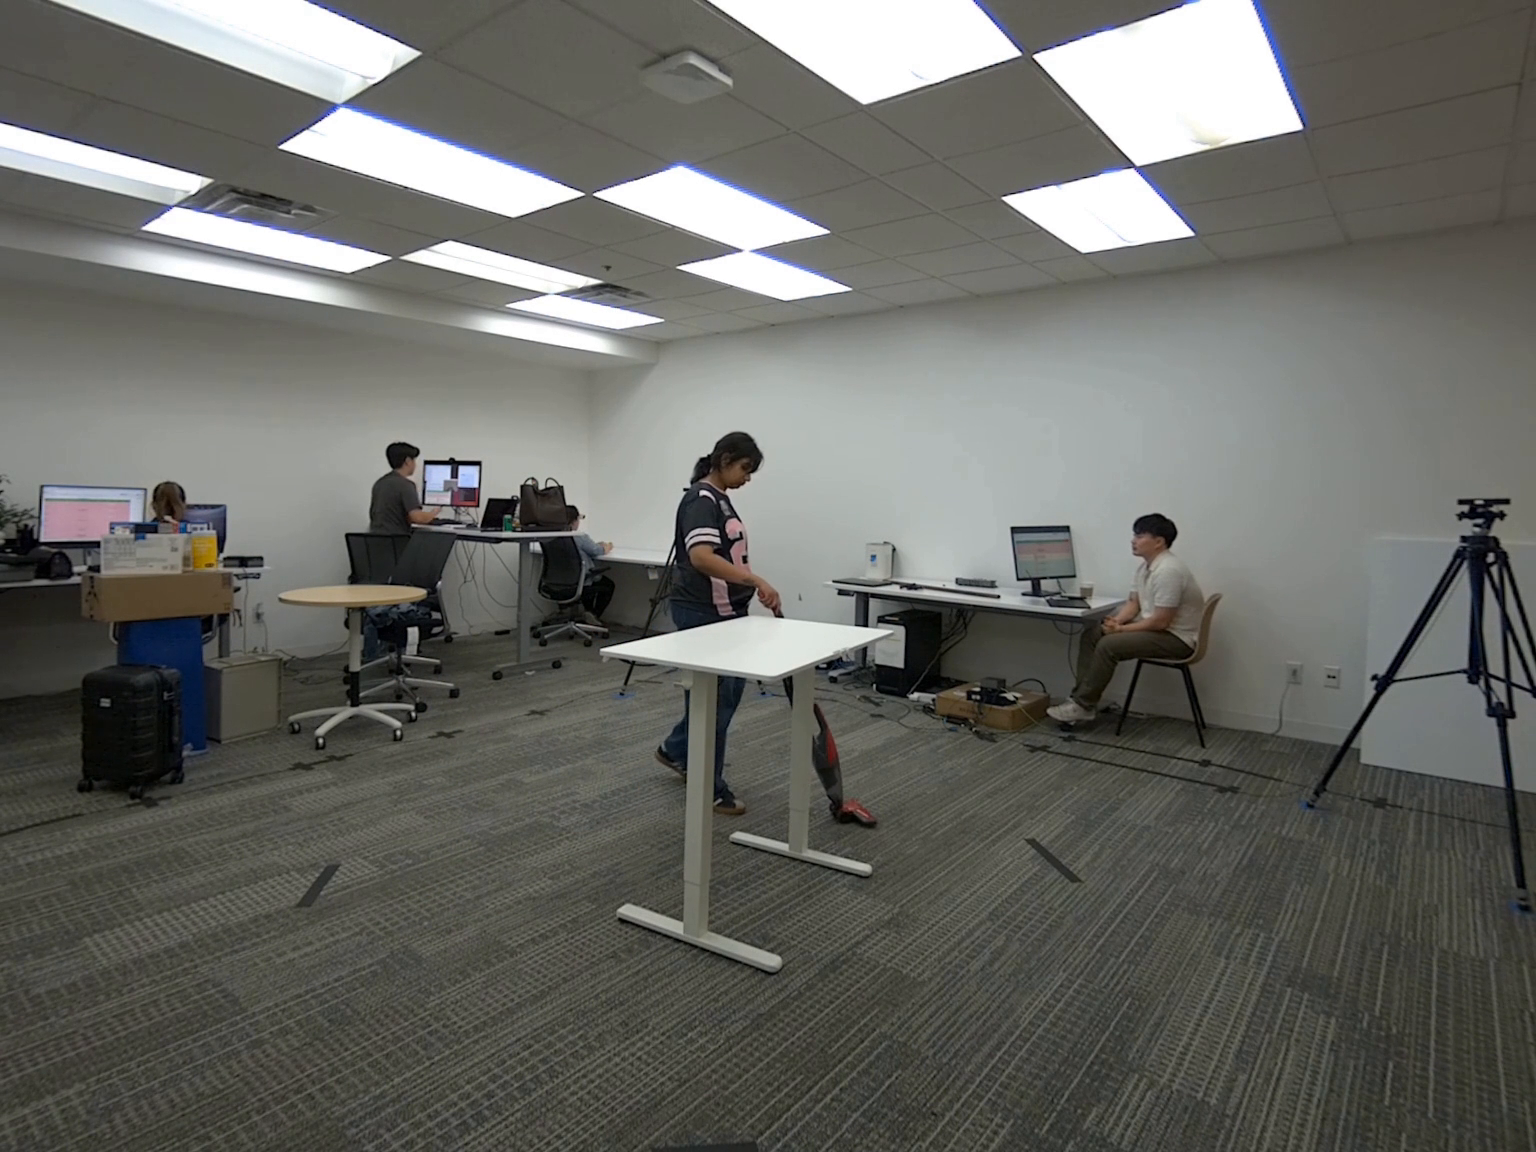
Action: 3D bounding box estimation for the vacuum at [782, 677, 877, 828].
[{"bbox_3d":[0.154,0.550,3.577,0.143,1.039,0.257,-24,8,-13],"label":"vacuum"}]
